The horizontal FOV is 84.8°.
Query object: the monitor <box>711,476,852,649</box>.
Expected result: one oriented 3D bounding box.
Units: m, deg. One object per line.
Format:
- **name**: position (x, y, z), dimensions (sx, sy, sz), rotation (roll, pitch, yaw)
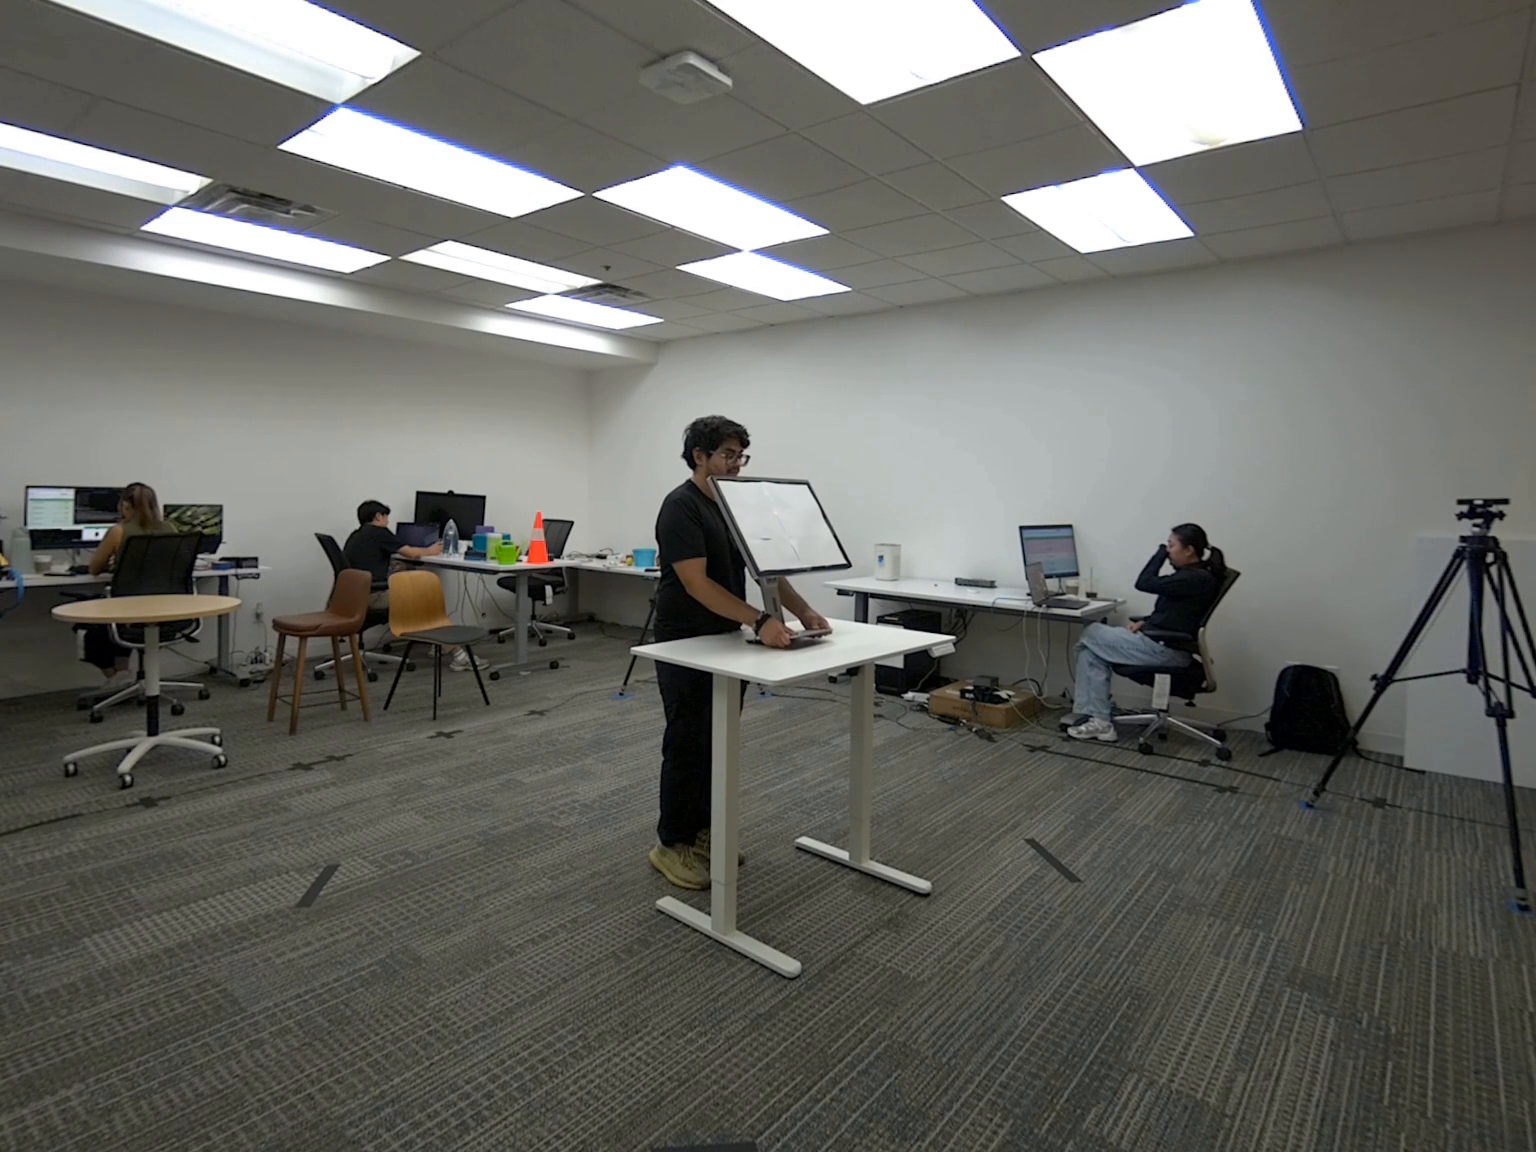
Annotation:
- **monitor**: position (0.016, -0.058, 2.862), dimensions (0.213, 0.562, 0.549), rotation (-27, -14, 34)
